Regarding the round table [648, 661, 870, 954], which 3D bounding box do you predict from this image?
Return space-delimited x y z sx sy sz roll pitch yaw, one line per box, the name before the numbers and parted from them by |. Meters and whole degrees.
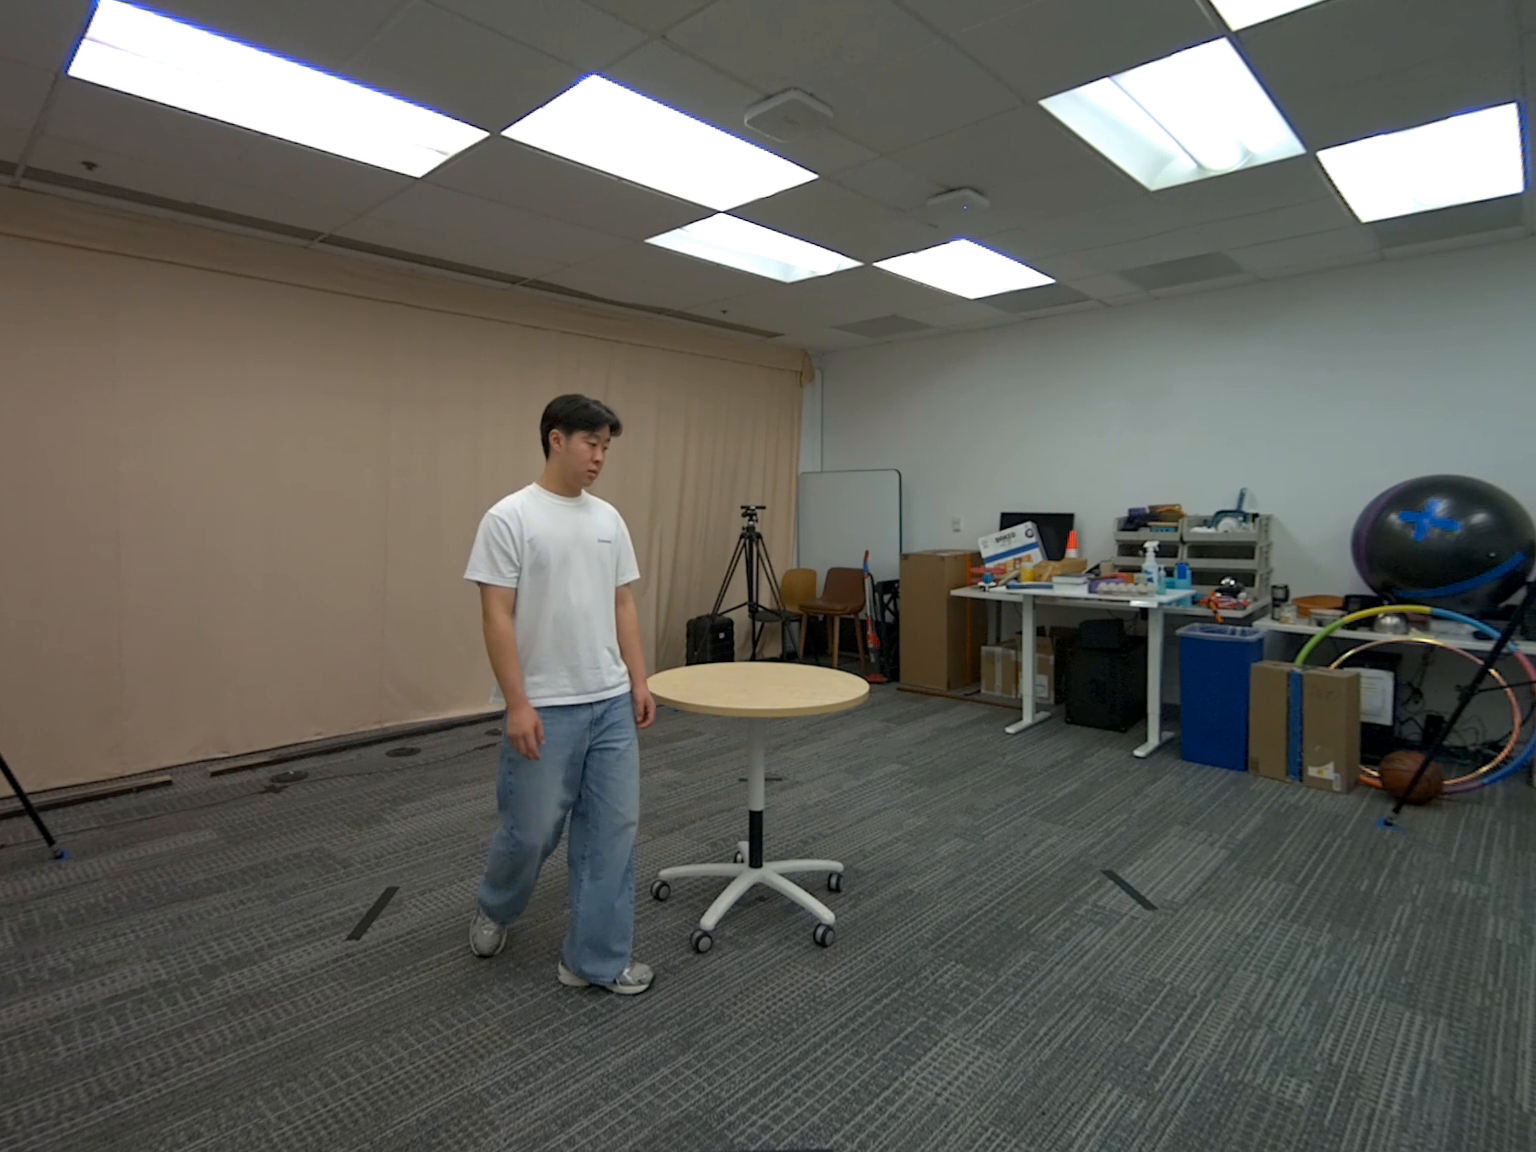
round table | -0.035 0.760 2.916 0.763 0.792 0.767 0 4 -2
